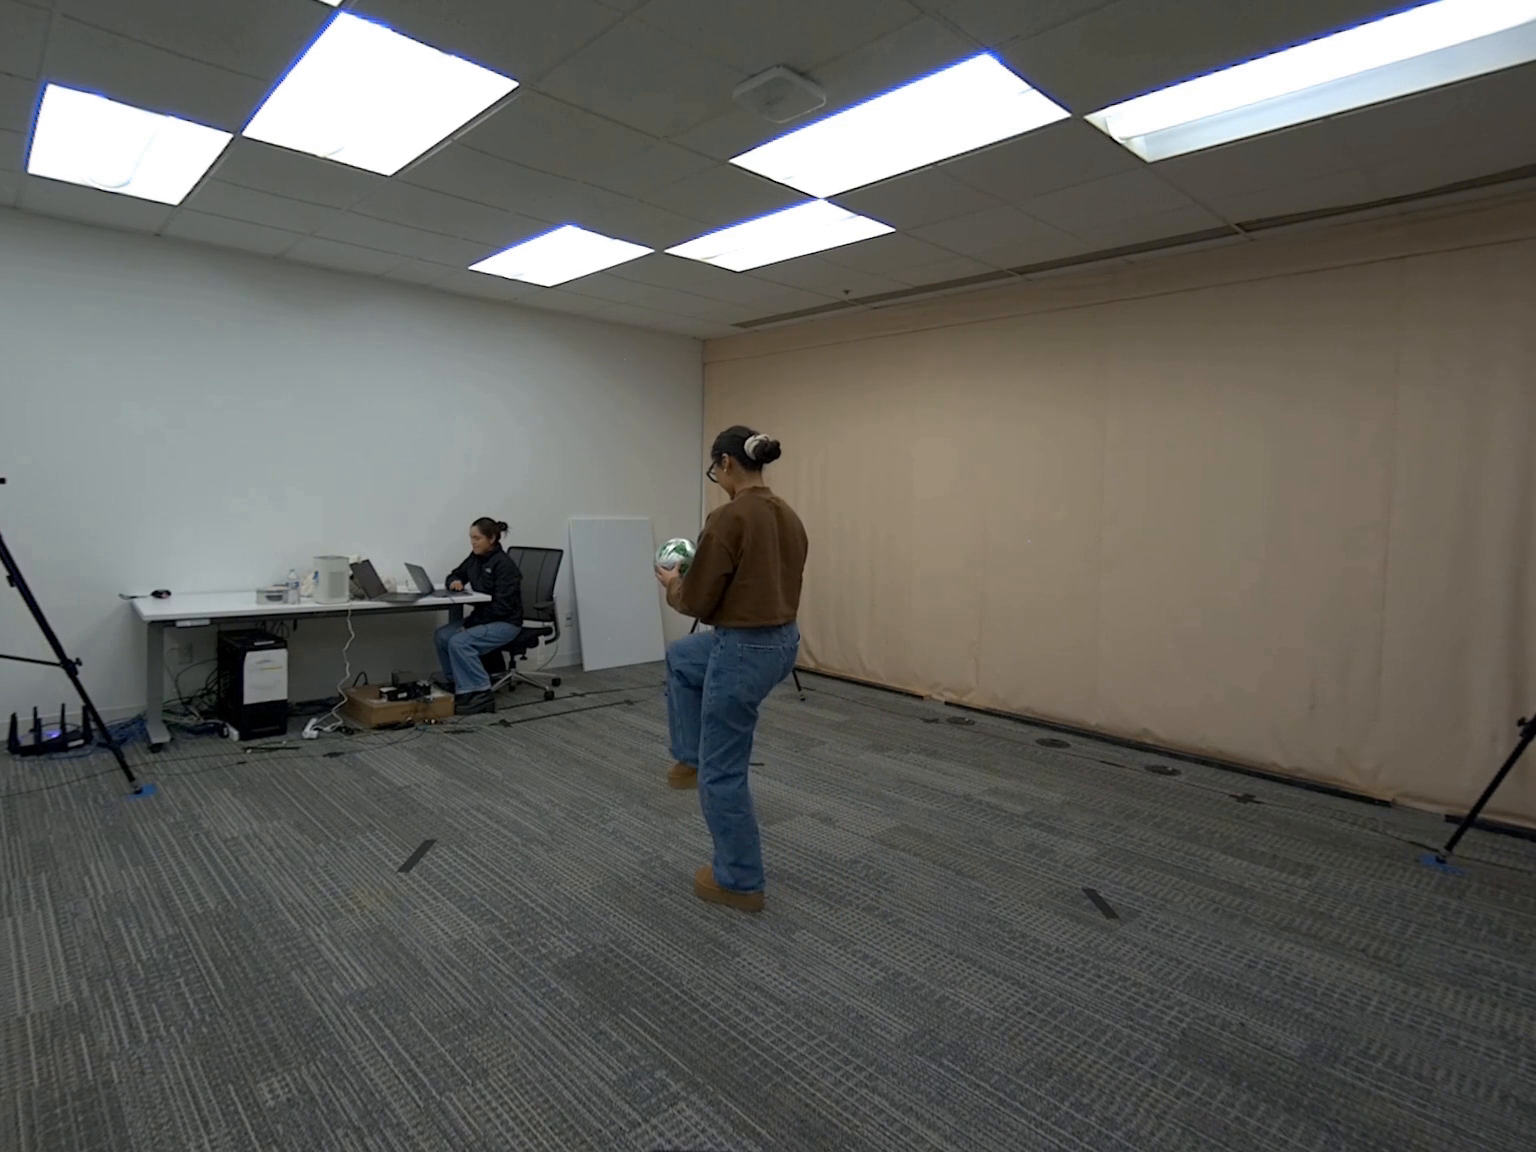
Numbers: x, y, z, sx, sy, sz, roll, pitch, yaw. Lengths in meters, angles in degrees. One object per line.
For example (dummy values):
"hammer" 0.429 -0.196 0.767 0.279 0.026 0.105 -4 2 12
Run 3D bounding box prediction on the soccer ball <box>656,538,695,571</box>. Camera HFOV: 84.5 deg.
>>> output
"soccer ball" -0.331 -0.044 3.083 0.187 0.187 0.188 1 4 -1
